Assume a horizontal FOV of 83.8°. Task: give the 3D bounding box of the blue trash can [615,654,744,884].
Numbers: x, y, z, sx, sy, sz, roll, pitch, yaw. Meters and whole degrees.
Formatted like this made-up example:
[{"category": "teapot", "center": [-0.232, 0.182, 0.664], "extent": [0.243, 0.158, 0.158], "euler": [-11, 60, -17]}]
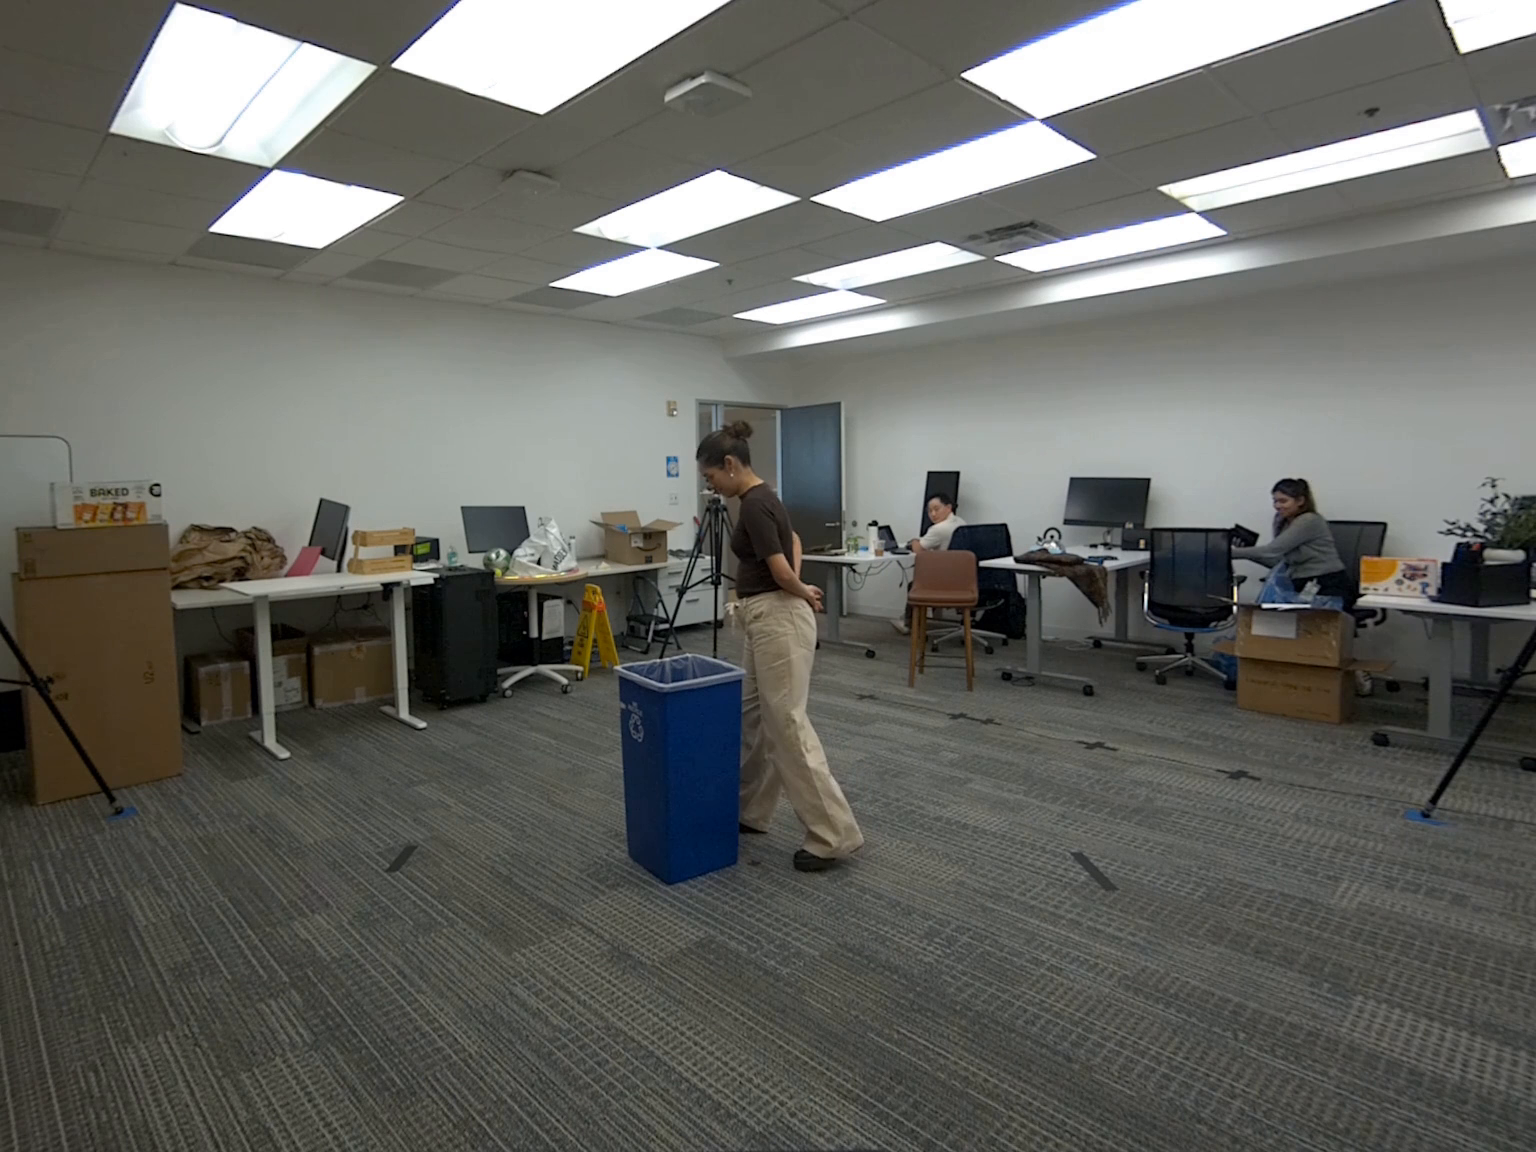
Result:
[{"category": "blue trash can", "center": [-0.320, 0.688, 3.111], "extent": [0.364, 0.710, 0.390], "euler": [-4, 6, -37]}]
